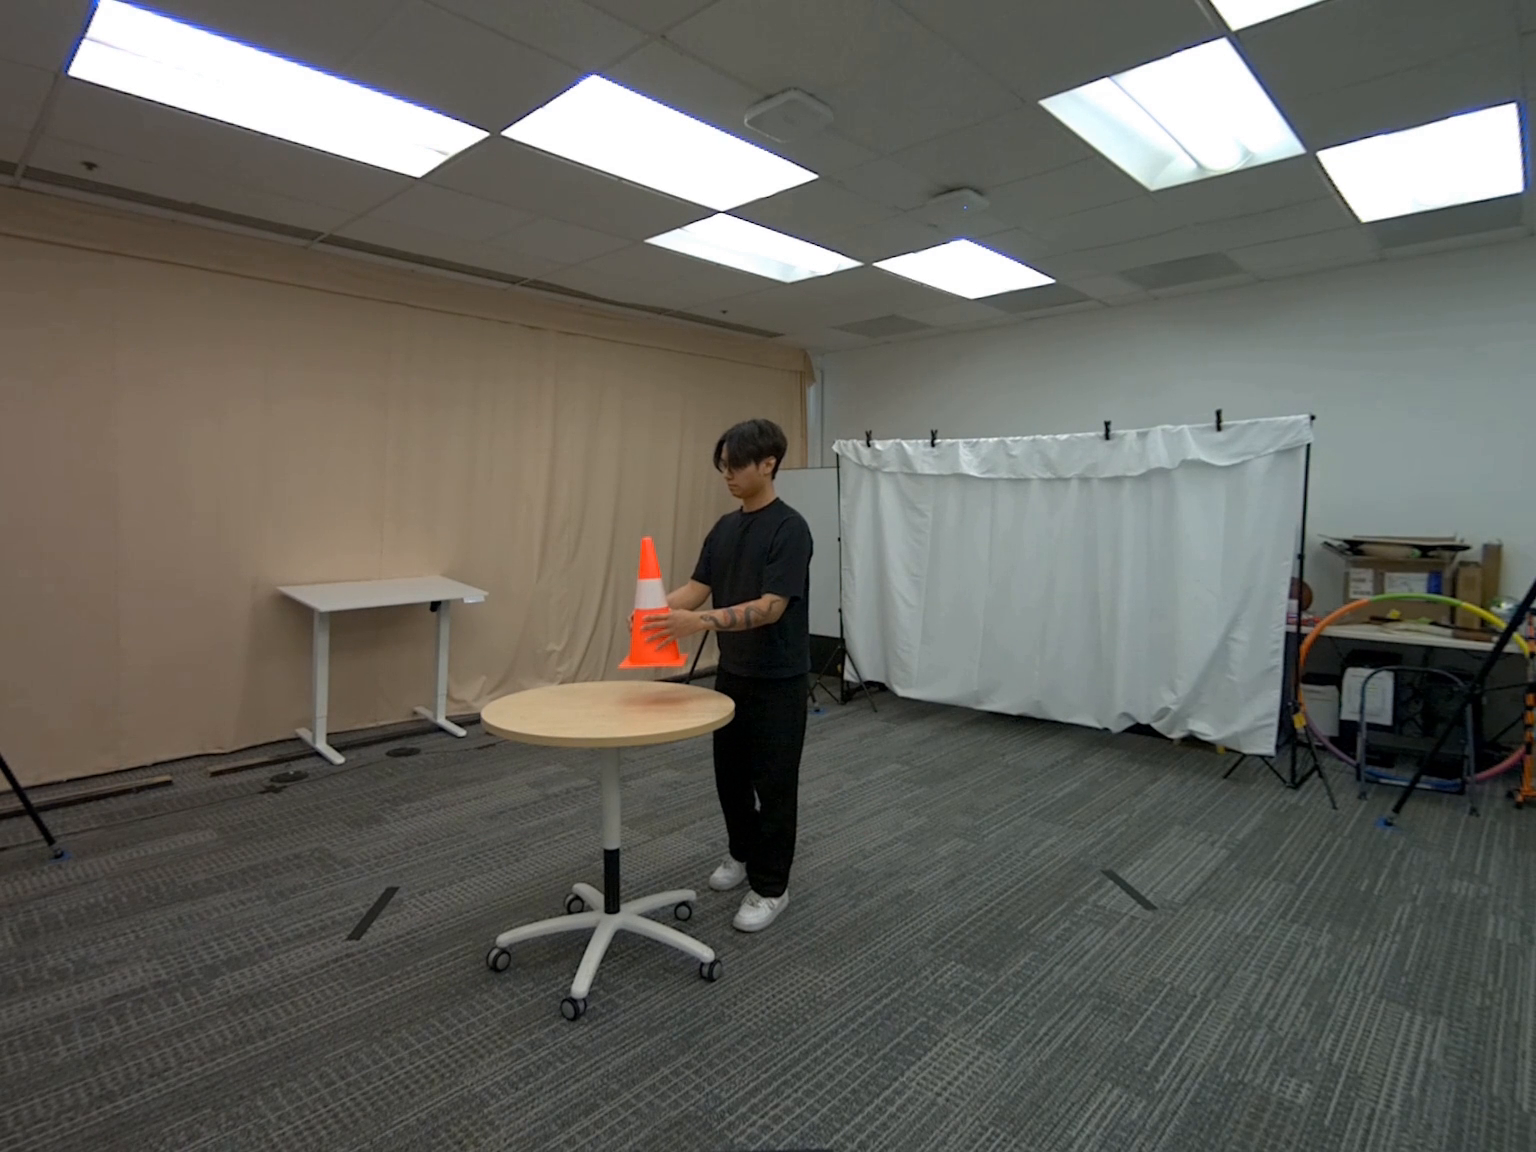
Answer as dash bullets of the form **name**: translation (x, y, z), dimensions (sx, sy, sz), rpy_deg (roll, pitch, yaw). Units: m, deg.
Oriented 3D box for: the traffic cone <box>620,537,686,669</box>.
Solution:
- **traffic cone**: translation (-0.367, 0.079, 2.599), dimensions (0.209, 0.383, 0.199), rpy_deg (-5, 3, 41)
